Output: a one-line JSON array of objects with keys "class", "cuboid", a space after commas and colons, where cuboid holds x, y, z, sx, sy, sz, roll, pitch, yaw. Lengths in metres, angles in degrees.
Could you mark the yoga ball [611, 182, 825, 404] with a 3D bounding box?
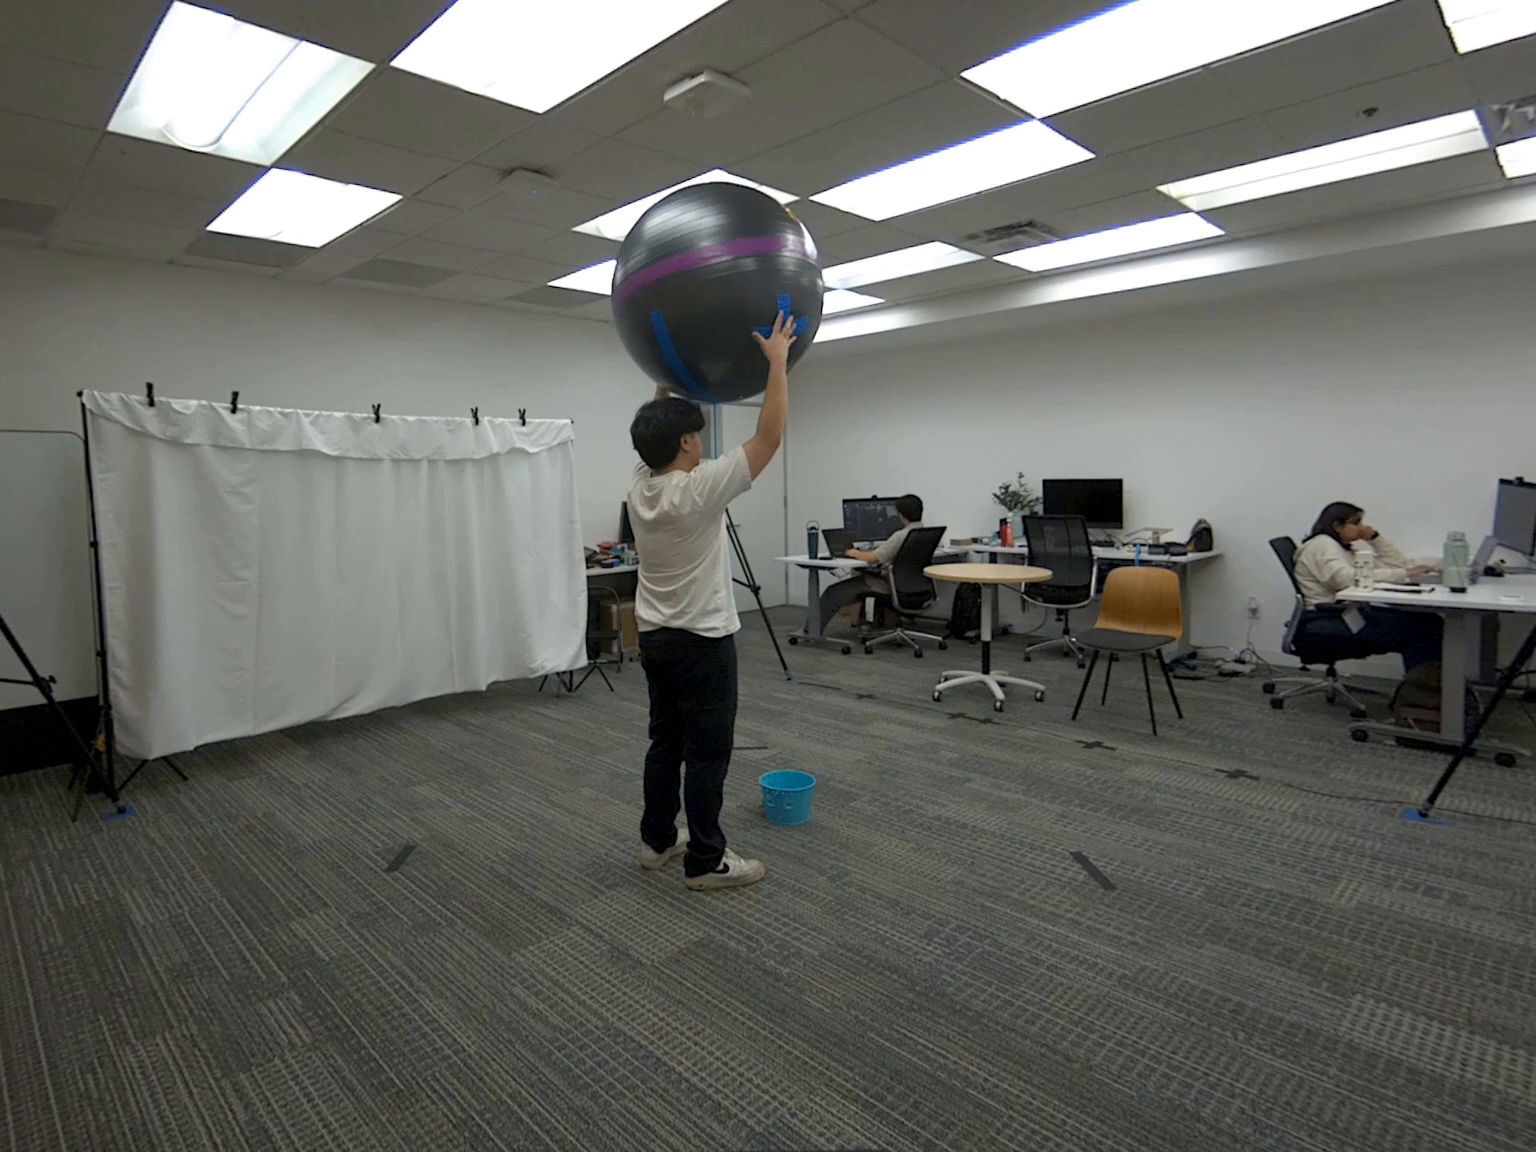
[{"class": "yoga ball", "cuboid": [-0.184, -1.000, 3.052, 0.757, 0.755, 0.762, -1, 5, -2]}]
